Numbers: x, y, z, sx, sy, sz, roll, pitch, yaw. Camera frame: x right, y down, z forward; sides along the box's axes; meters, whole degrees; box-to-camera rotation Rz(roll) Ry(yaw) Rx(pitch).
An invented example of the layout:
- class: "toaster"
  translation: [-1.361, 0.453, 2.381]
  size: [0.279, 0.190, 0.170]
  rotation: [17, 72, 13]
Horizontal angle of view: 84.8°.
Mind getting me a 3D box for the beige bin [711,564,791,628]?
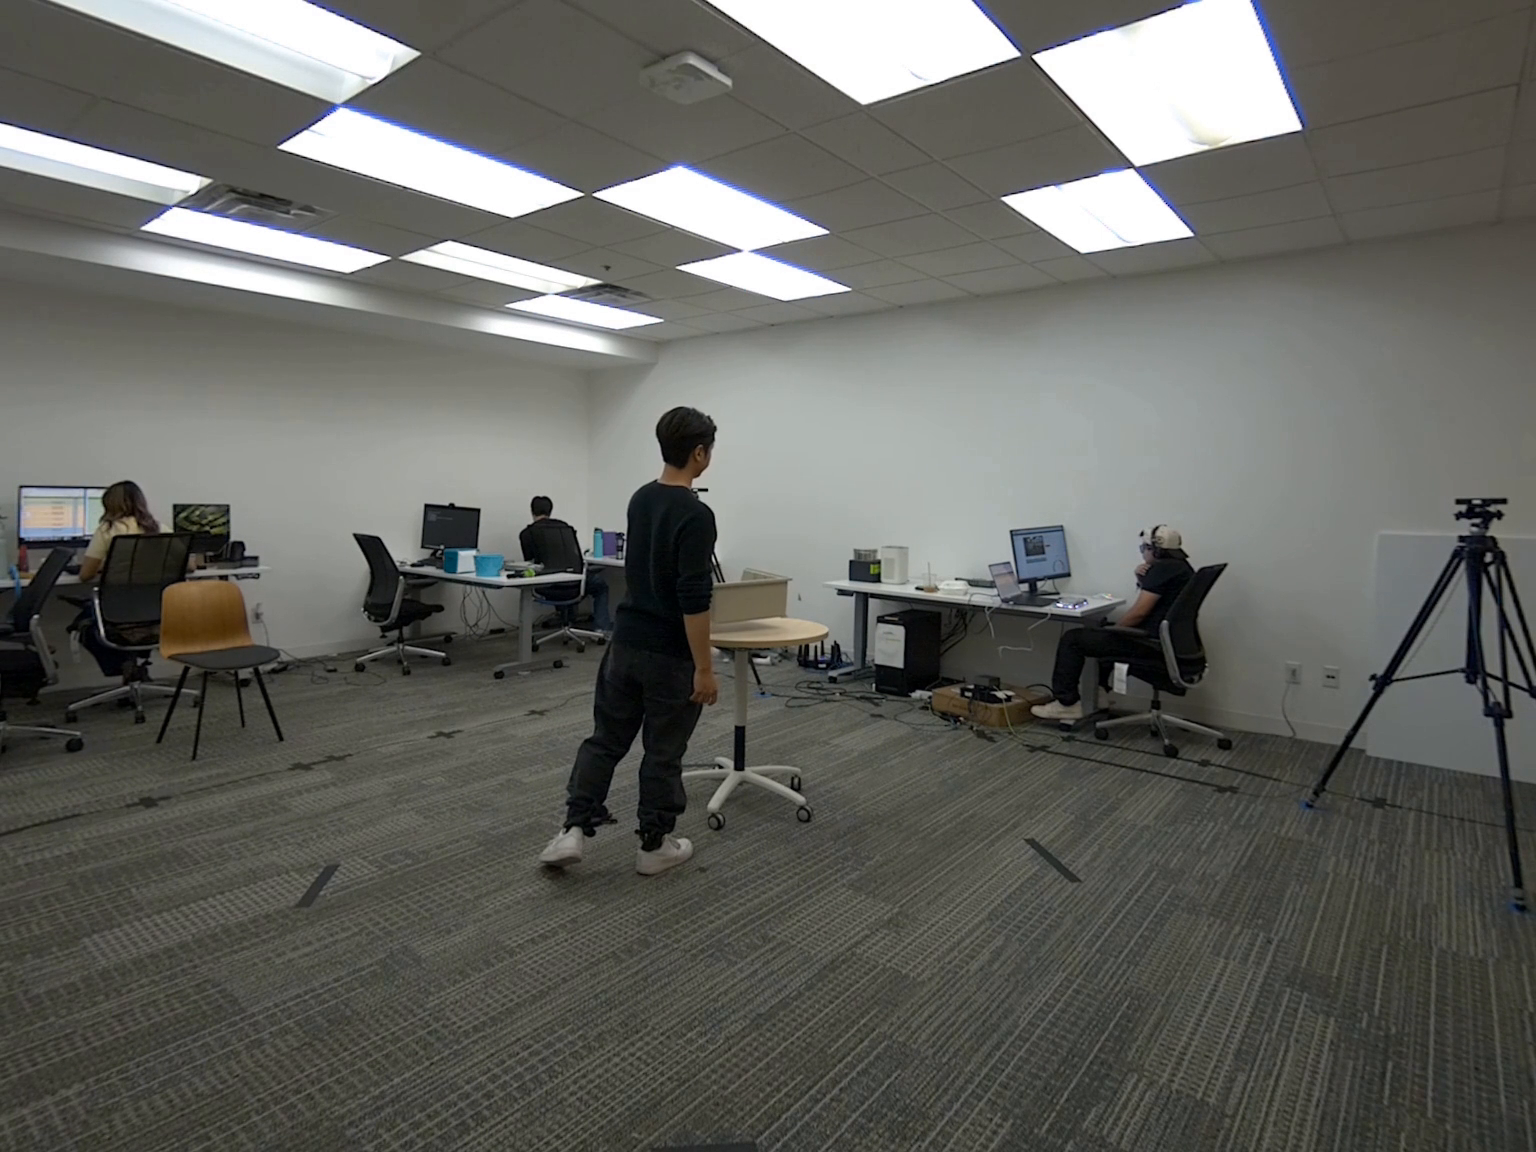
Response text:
- class: "beige bin"
  translation: [-0.192, 0.078, 3.772]
  size: [0.410, 0.187, 0.391]
  rotation: [-4, 11, -37]
